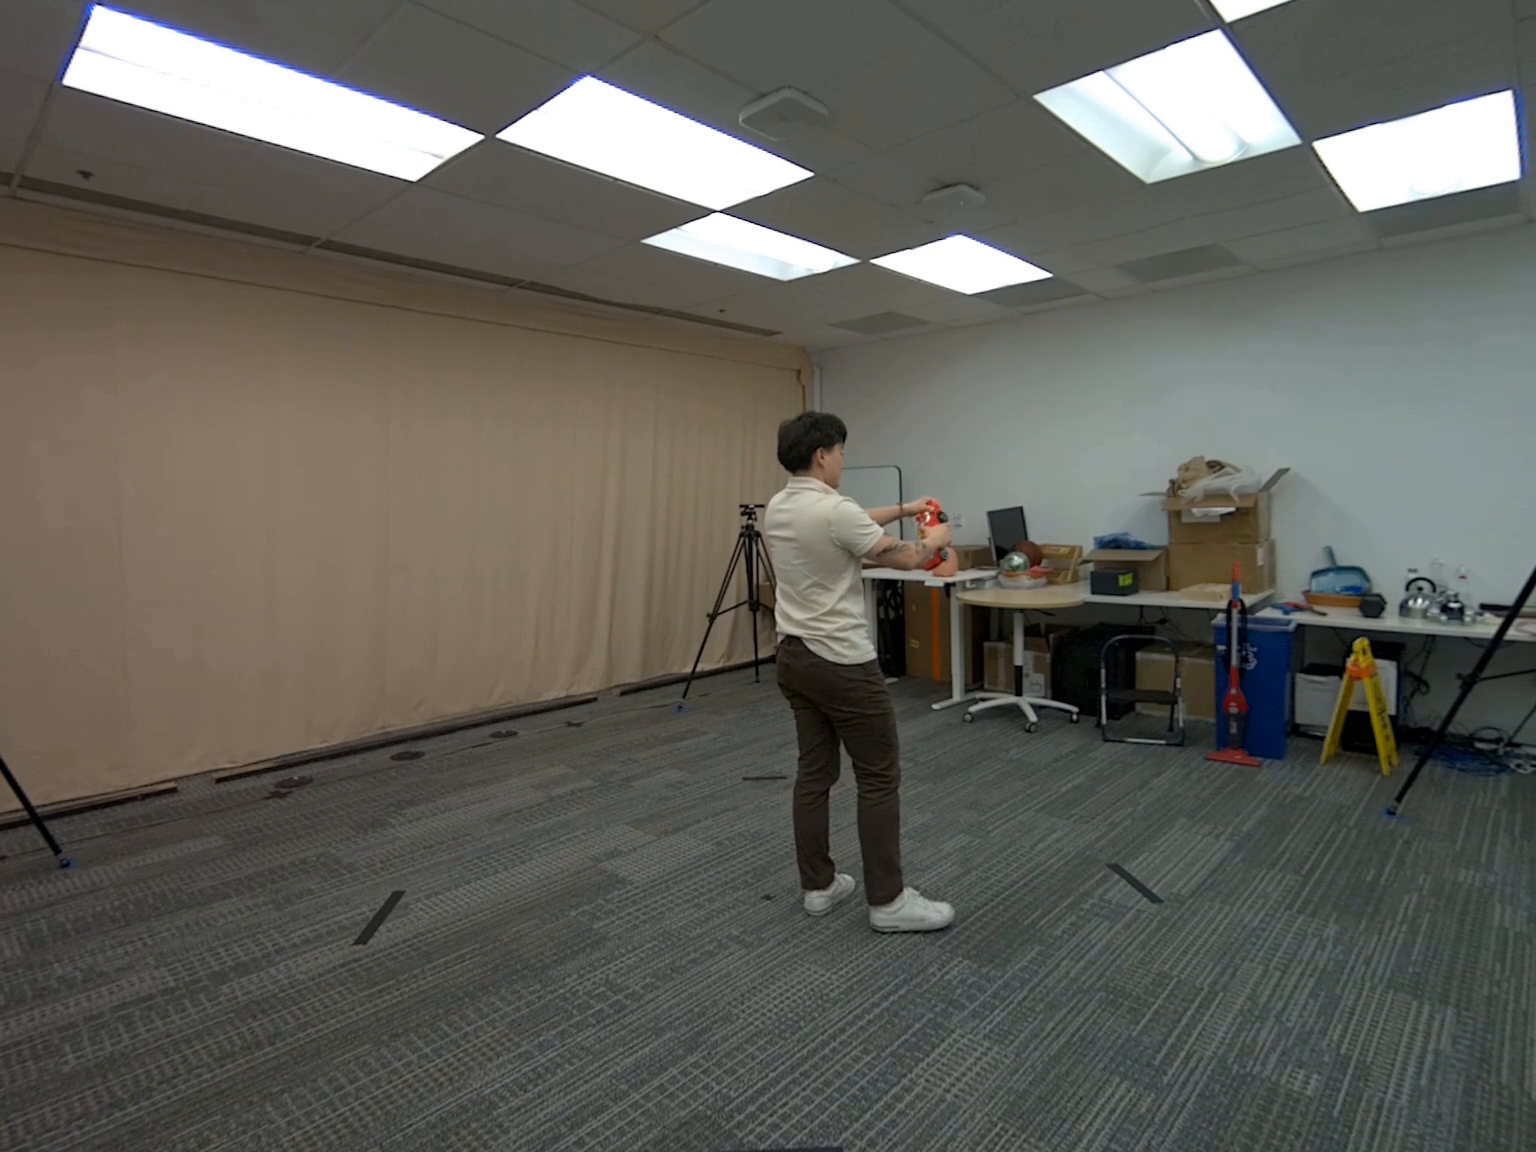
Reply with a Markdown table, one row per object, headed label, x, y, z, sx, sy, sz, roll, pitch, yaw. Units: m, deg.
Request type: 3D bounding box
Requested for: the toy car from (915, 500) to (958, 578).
| label | x | y | z | sx | sy | sz | roll | pitch | yaw |
| --- | --- | --- | --- | --- | --- | --- | --- | --- | --- |
| toy car | 0.601 | -0.142 | 3.031 | 0.081 | 0.258 | 0.132 | 3 | -19 | -29 |
